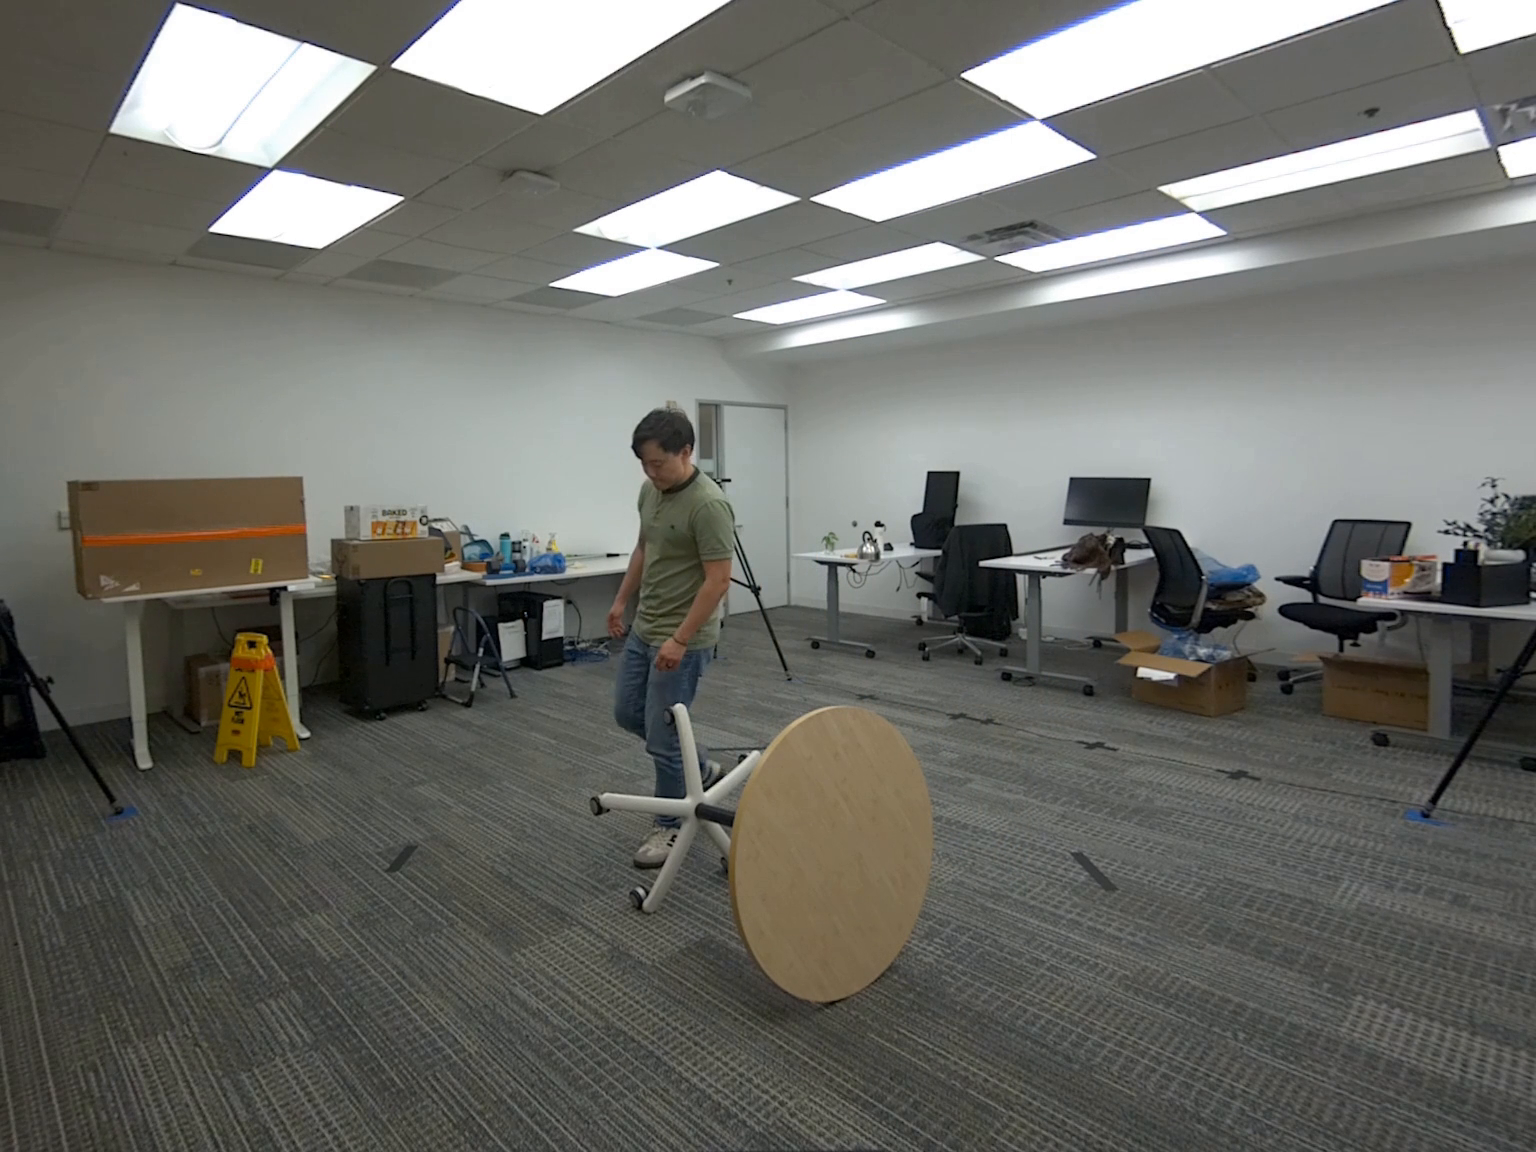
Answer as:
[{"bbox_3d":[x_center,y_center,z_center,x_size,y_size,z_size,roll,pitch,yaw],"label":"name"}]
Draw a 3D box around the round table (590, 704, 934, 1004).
[{"bbox_3d":[-0.048,0.768,2.648,0.744,0.765,0.814,-5,-1,-40],"label":"round table"}]
